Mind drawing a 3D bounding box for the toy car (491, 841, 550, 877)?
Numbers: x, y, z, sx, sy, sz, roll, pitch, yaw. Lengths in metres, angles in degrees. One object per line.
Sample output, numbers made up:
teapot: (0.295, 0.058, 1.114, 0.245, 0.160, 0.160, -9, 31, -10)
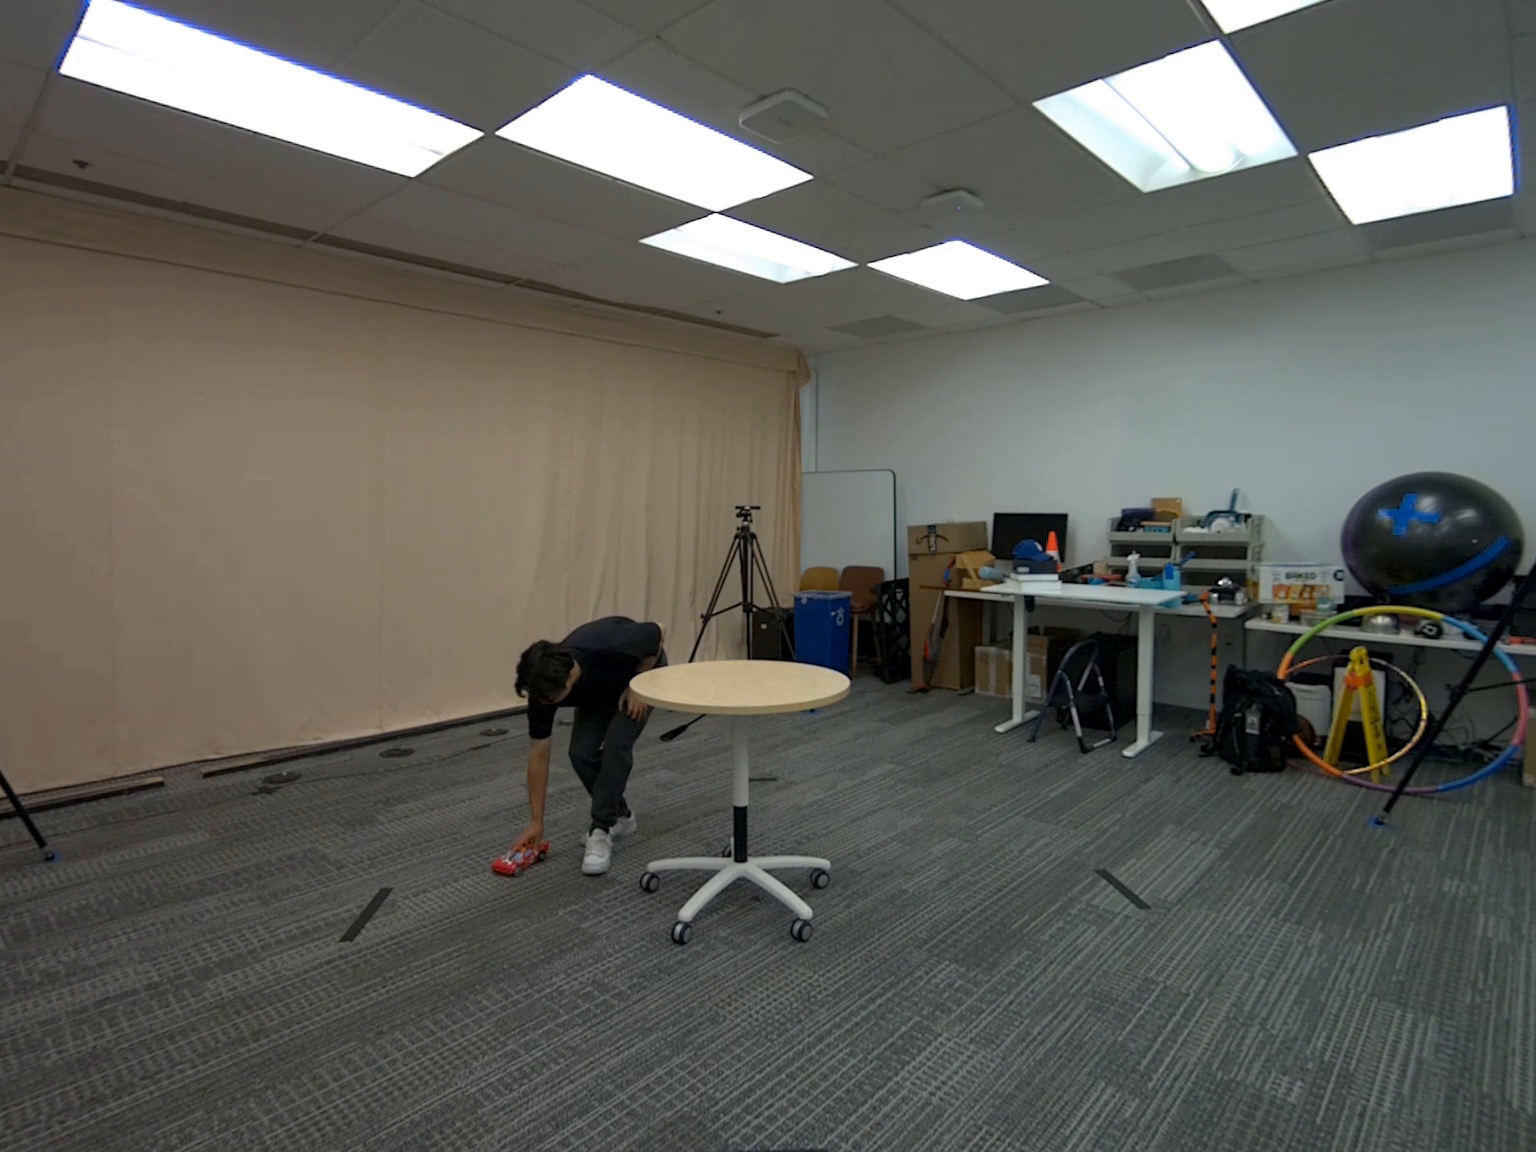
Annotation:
toy car: (-0.959, 1.101, 3.285, 0.133, 0.082, 0.251, 0, 14, 23)
